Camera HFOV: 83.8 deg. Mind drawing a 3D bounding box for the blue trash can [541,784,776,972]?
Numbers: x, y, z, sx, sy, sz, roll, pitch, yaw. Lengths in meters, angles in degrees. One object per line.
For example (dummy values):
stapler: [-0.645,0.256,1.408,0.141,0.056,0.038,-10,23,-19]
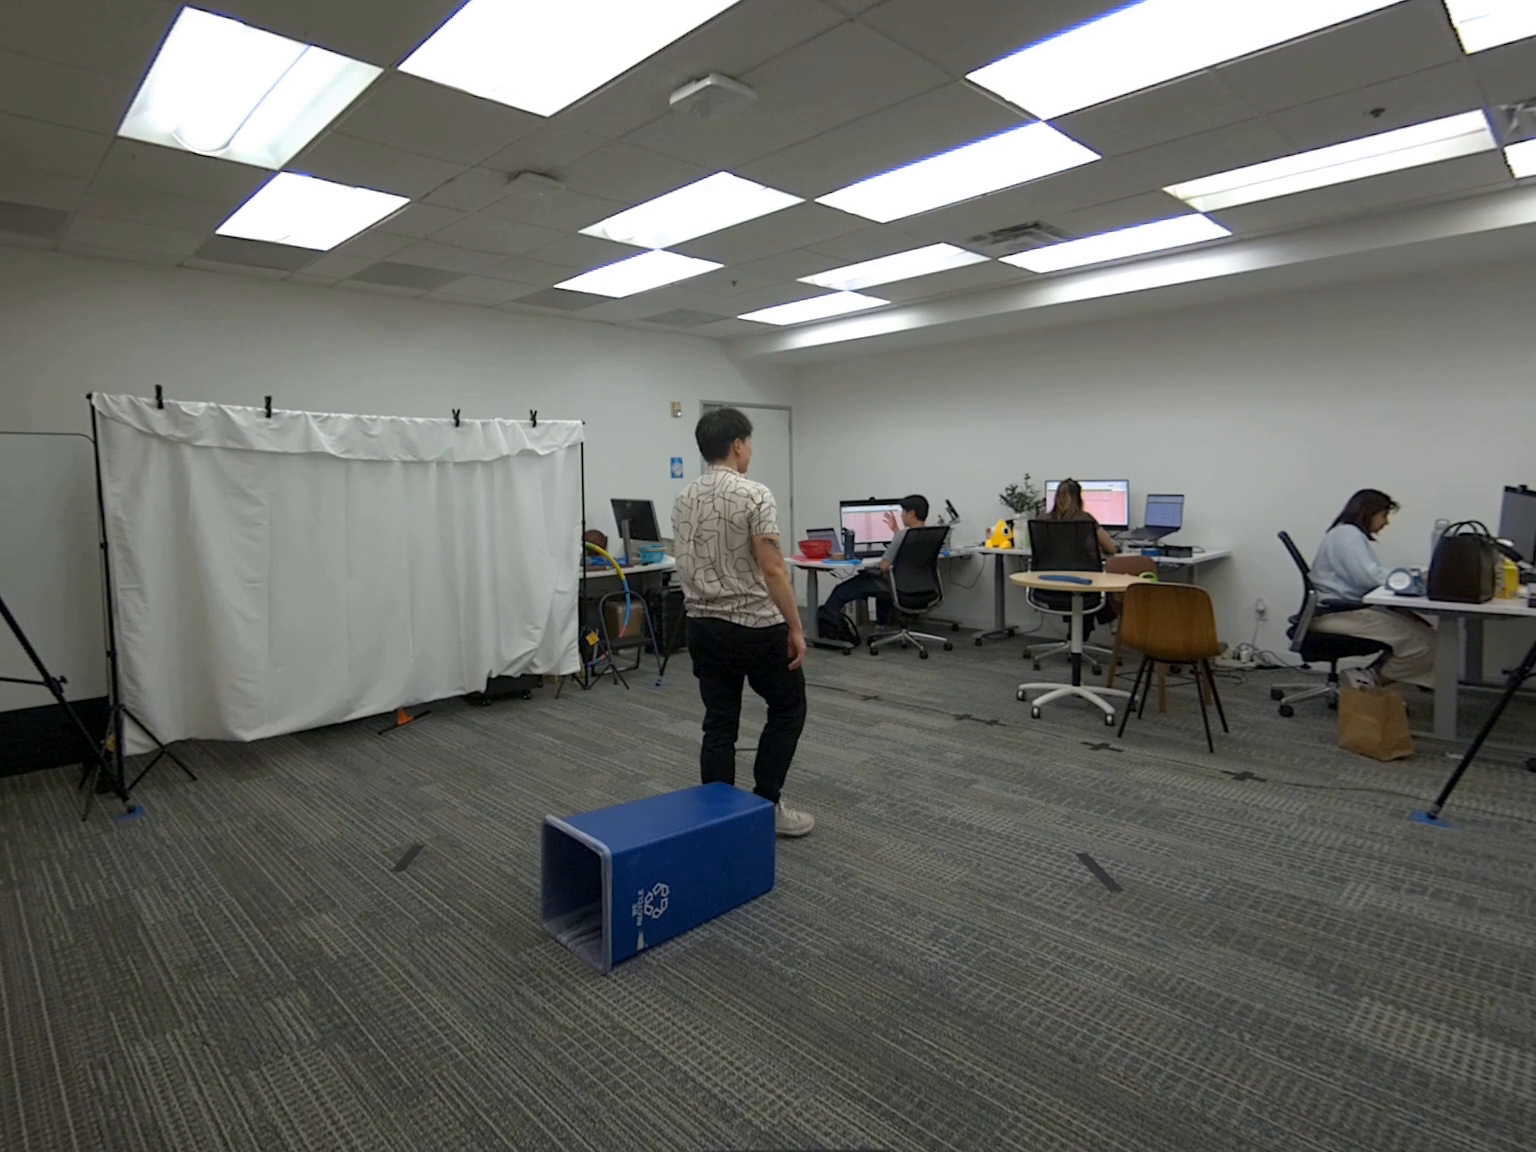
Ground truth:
blue trash can: [-0.325,0.919,2.777,0.694,0.377,0.385,-4,6,-42]
